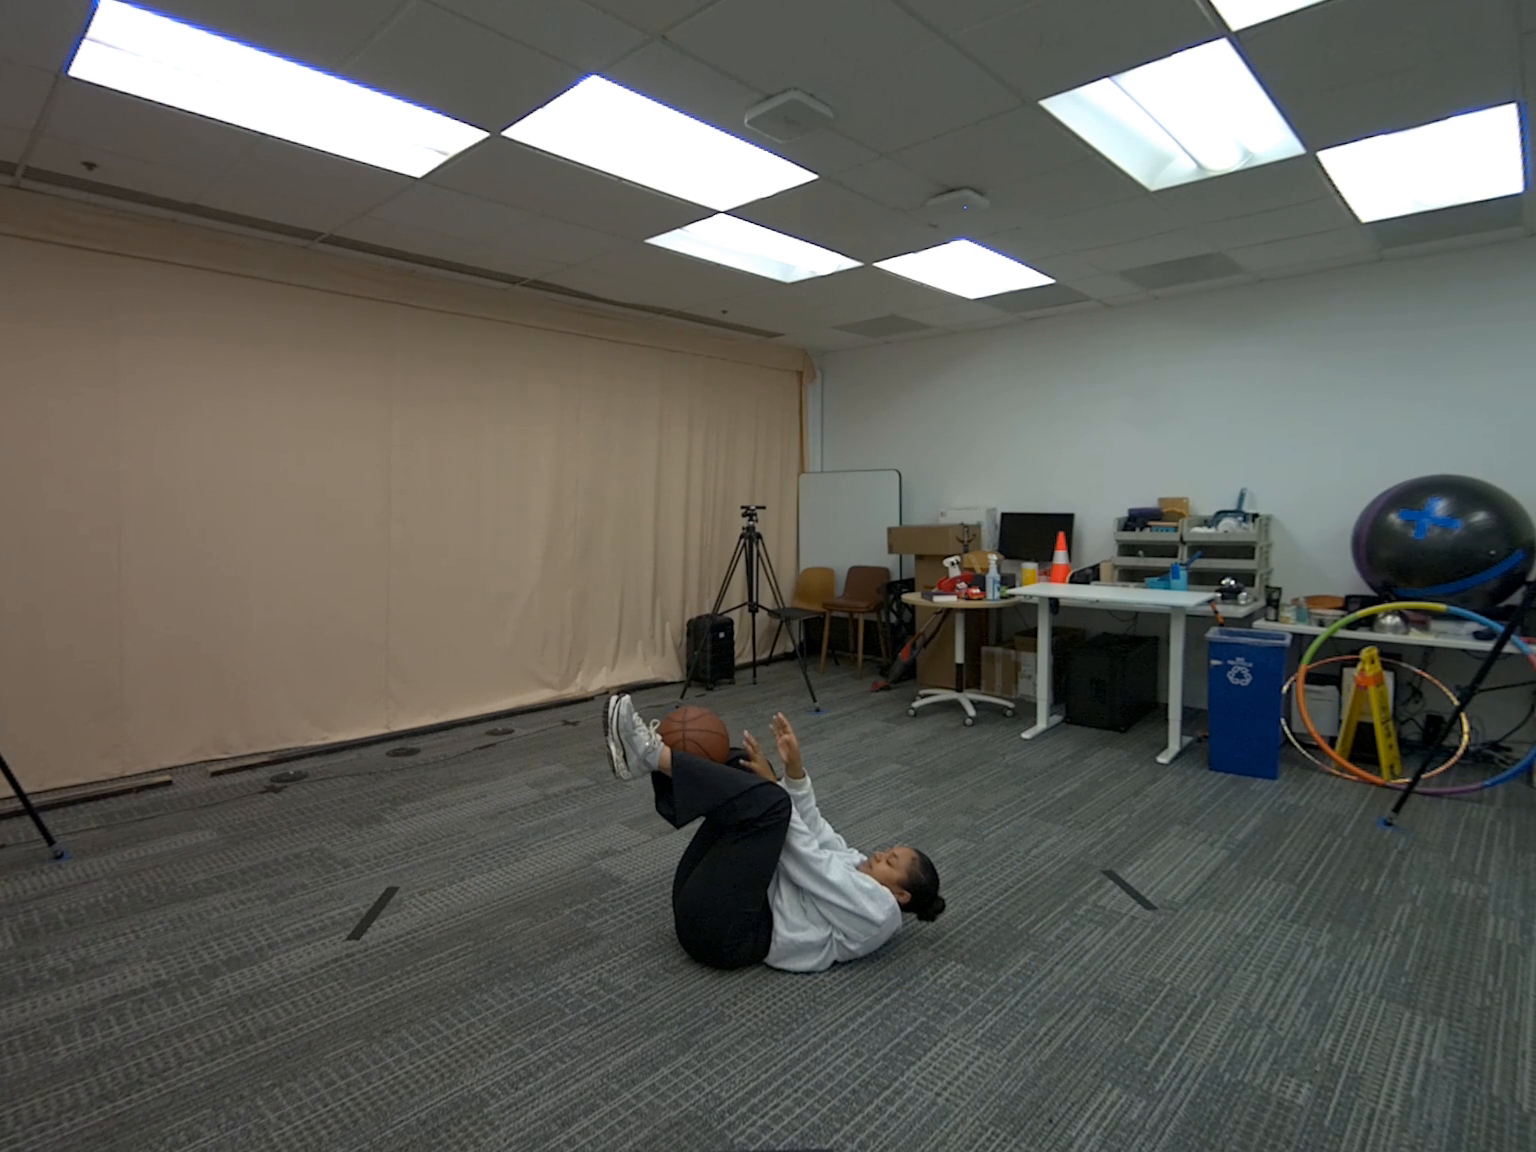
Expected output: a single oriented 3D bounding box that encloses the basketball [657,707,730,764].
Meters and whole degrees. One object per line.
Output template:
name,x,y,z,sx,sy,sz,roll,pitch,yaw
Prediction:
basketball,-0.239,0.527,2.644,0.236,0.235,0.237,0,4,-2
